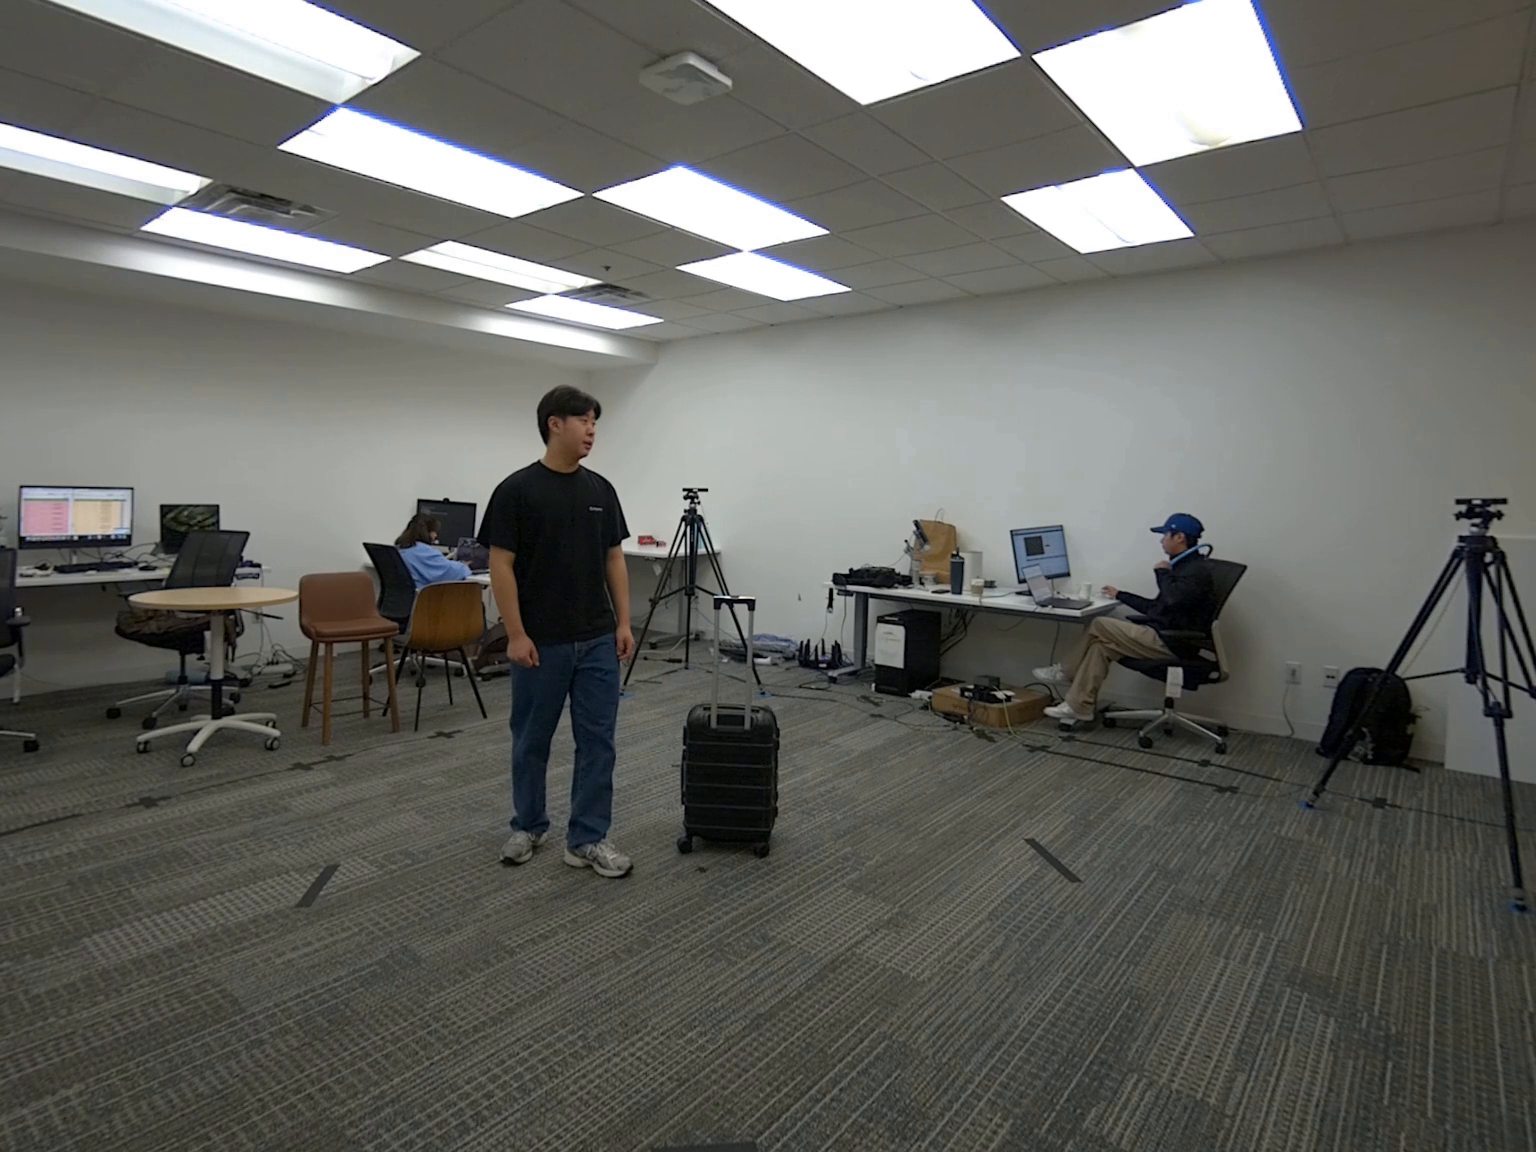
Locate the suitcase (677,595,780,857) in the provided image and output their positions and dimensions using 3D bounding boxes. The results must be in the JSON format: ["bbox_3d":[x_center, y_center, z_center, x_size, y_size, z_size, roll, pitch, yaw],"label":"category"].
[{"bbox_3d":[-0.149,0.573,3.354,0.385,0.978,0.256,3,0,1],"label":"suitcase"}]
